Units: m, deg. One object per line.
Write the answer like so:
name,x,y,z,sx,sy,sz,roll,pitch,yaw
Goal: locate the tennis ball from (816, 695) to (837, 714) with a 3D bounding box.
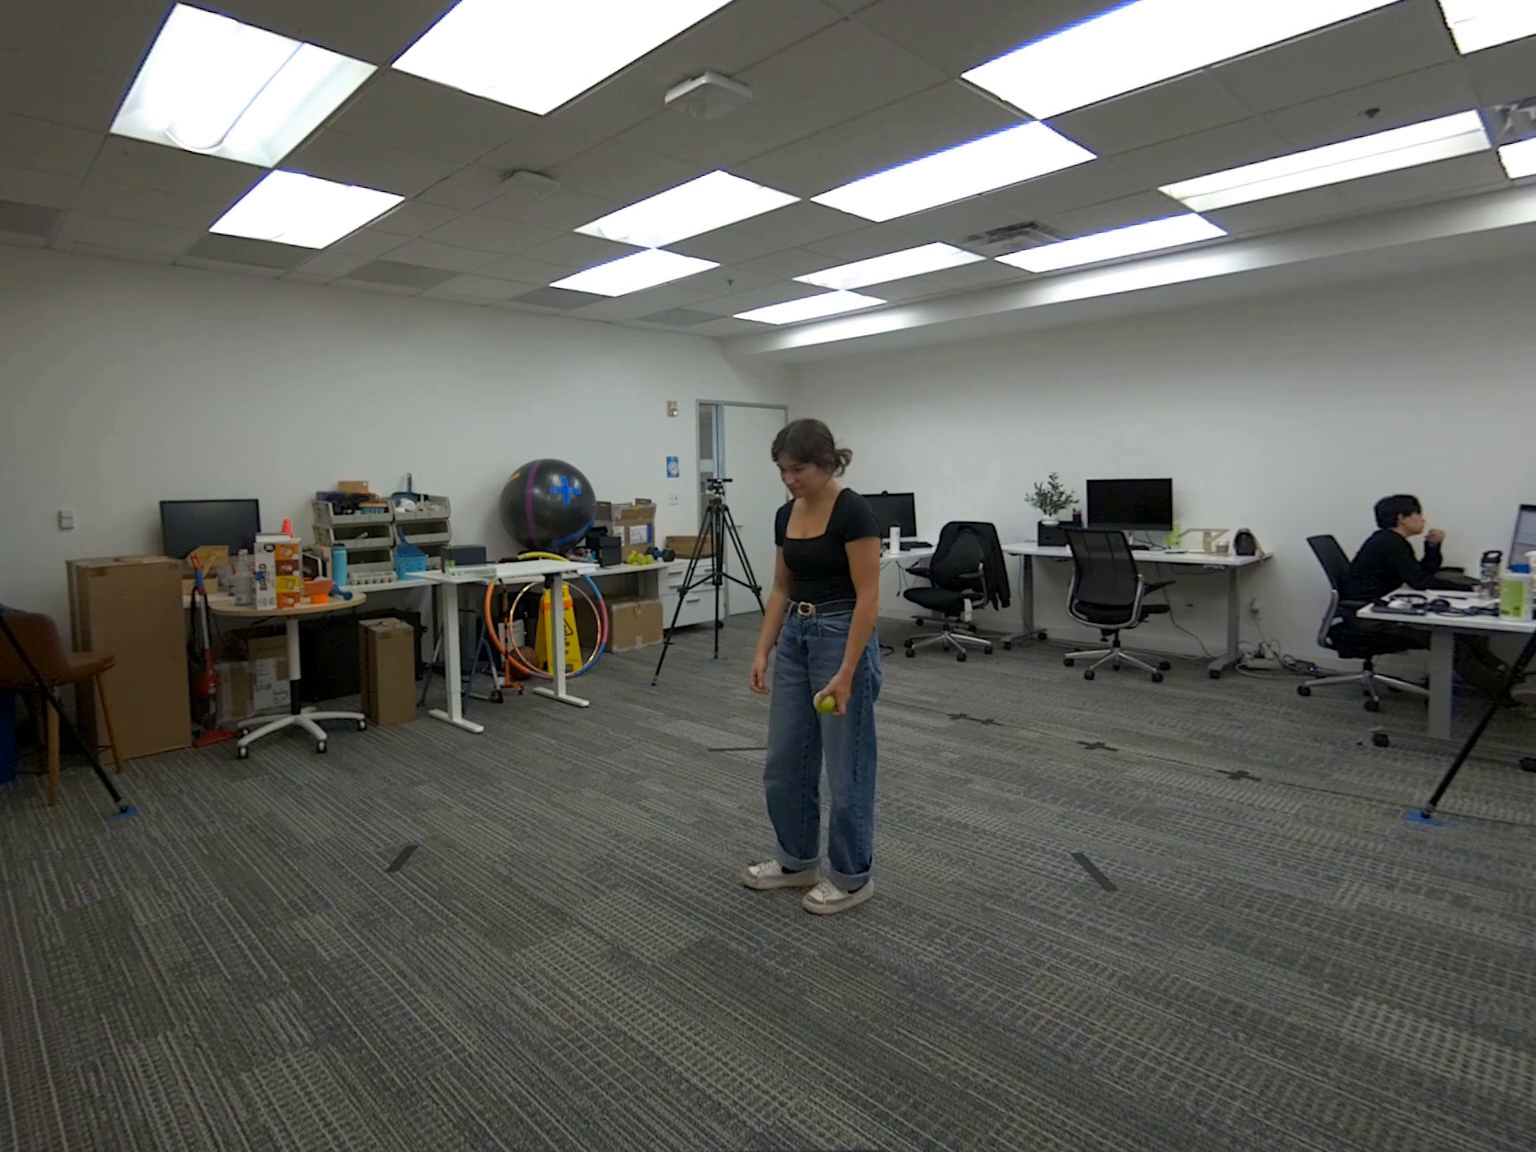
tennis ball,0.208,0.393,2.571,0.066,0.066,0.067,-1,5,-2
